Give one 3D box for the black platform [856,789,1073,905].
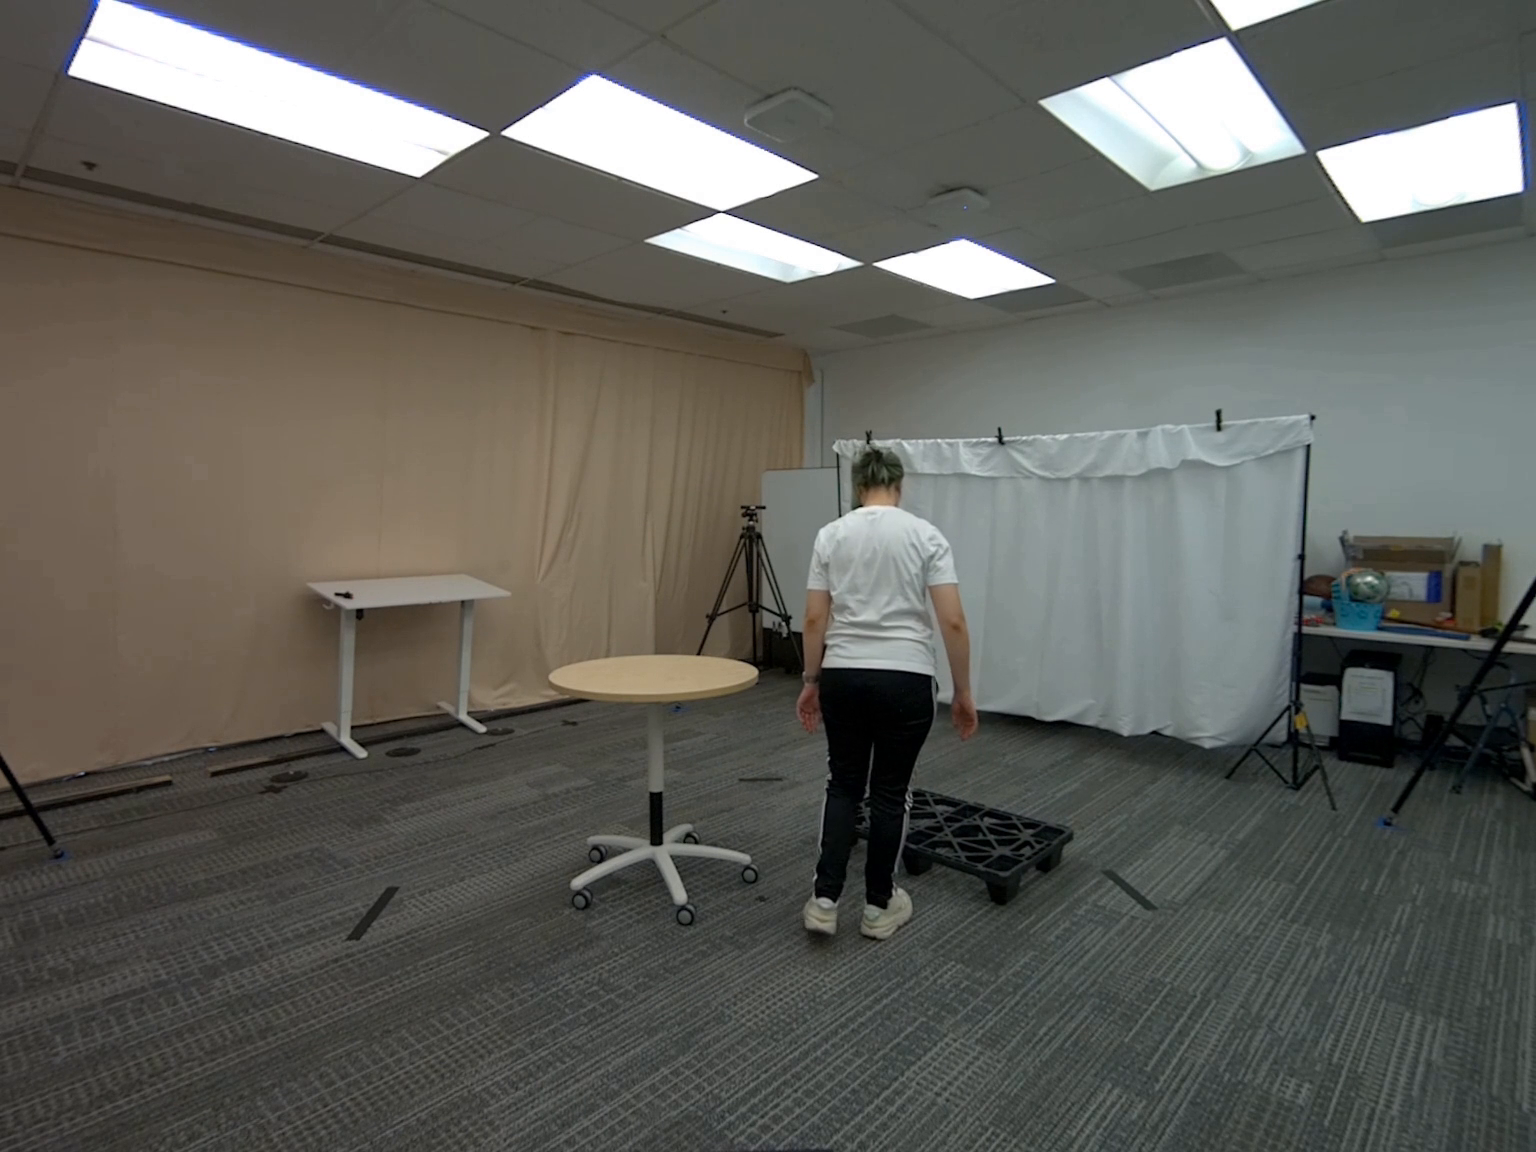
[{"bbox_3d":[0.698,1.046,3.344,0.832,0.143,0.586,4,6,43],"label":"black platform"}]
